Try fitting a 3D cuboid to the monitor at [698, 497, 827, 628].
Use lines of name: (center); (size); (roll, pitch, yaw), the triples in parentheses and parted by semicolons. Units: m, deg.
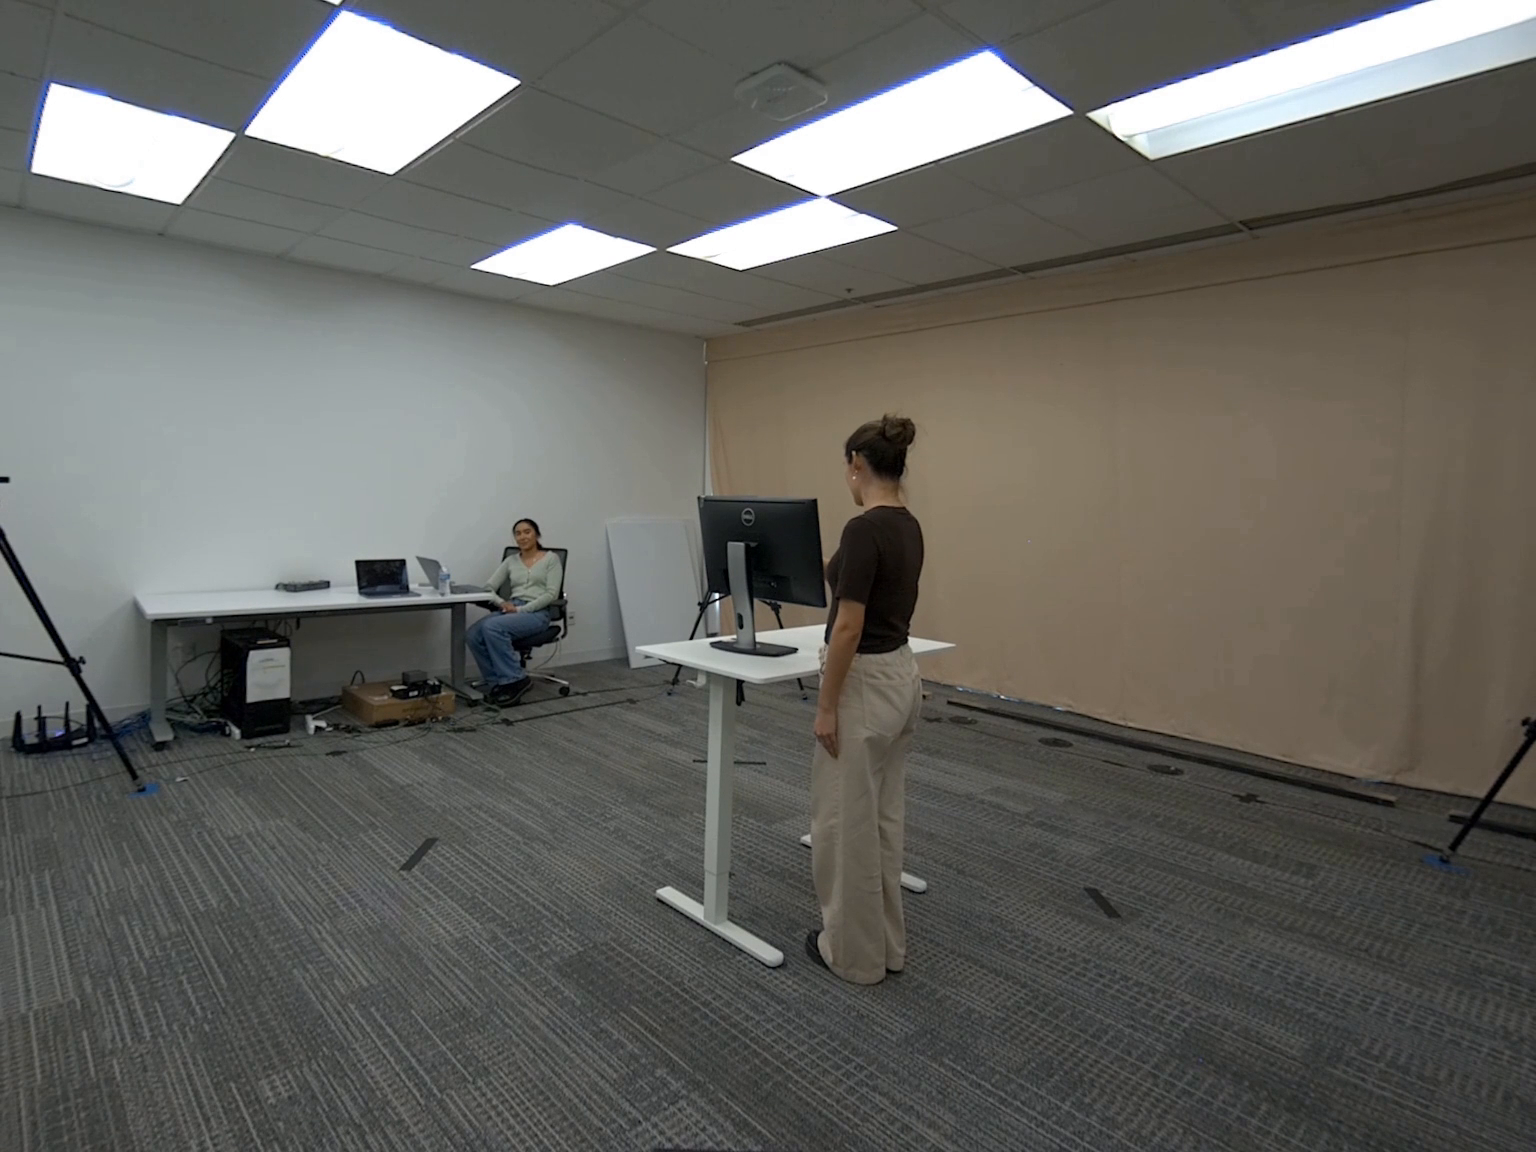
monitor: (-0.058, -0.002, 2.797); (0.553, 0.521, 0.183); (5, 4, 43)
